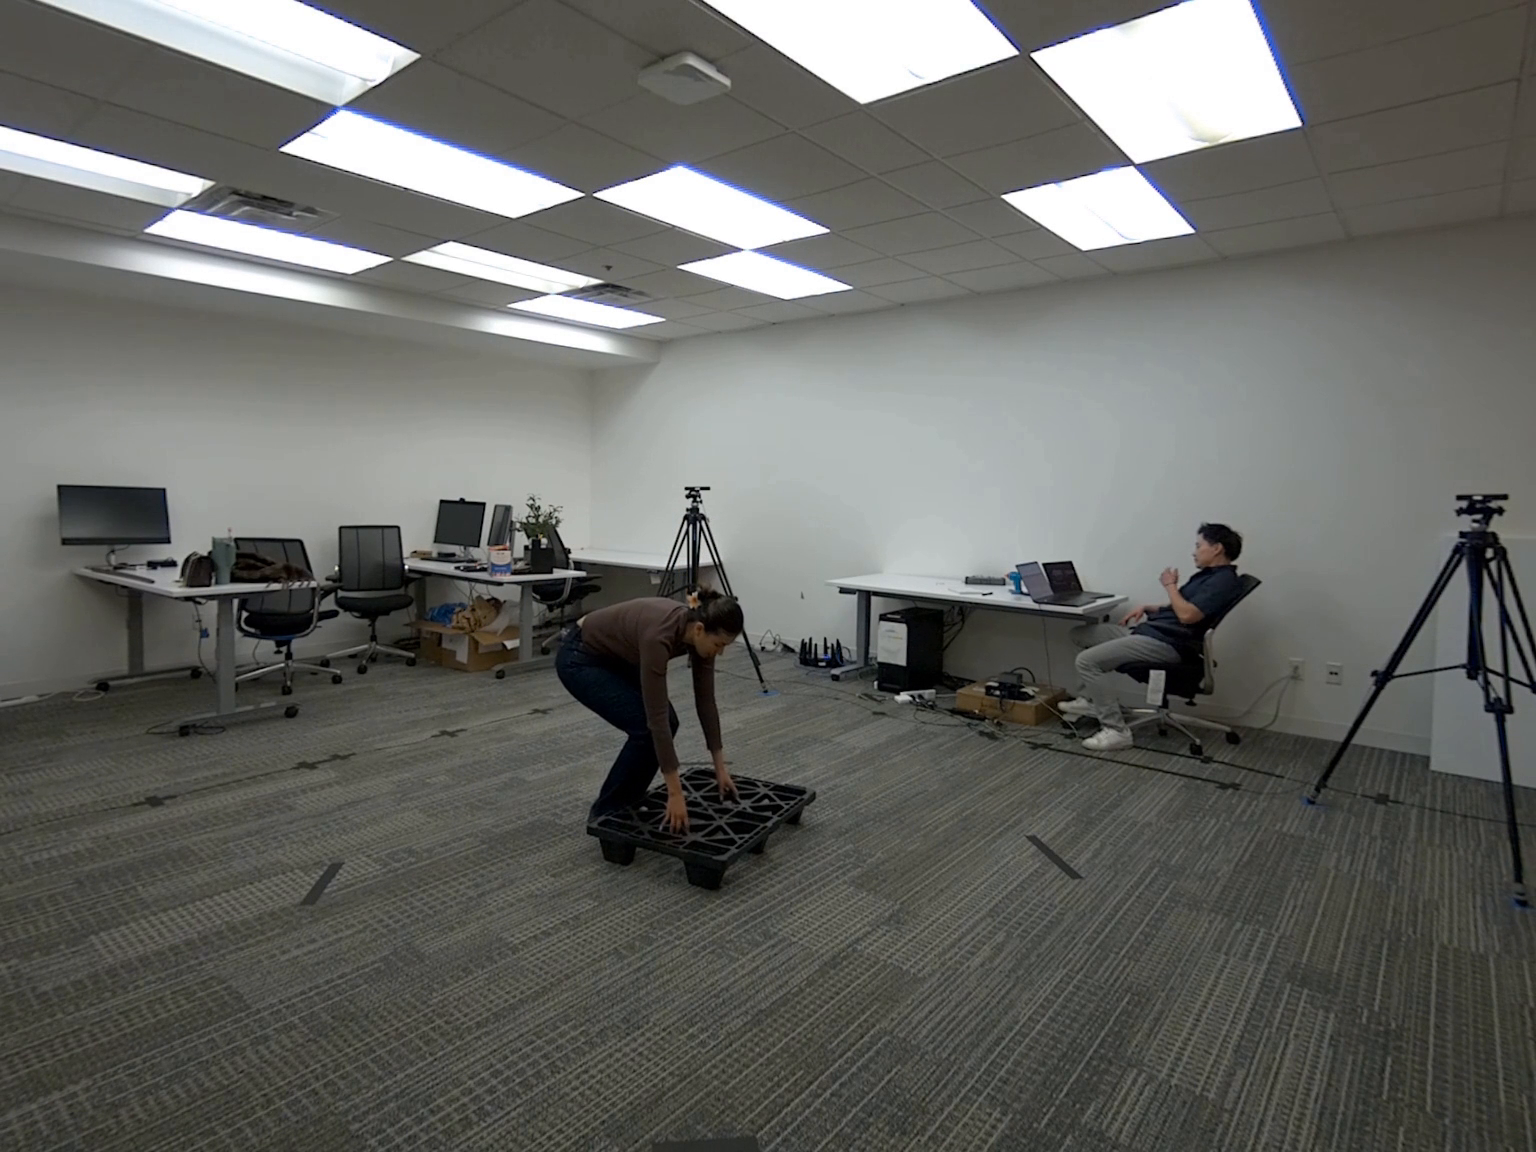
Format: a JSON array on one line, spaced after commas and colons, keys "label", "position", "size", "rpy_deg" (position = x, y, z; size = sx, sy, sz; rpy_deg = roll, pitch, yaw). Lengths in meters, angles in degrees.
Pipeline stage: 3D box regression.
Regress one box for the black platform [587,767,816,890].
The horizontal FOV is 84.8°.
[{"label": "black platform", "position": [-0.242, 0.970, 3.360], "size": [0.622, 0.143, 0.786], "rpy_deg": [4, 7, 28]}]
